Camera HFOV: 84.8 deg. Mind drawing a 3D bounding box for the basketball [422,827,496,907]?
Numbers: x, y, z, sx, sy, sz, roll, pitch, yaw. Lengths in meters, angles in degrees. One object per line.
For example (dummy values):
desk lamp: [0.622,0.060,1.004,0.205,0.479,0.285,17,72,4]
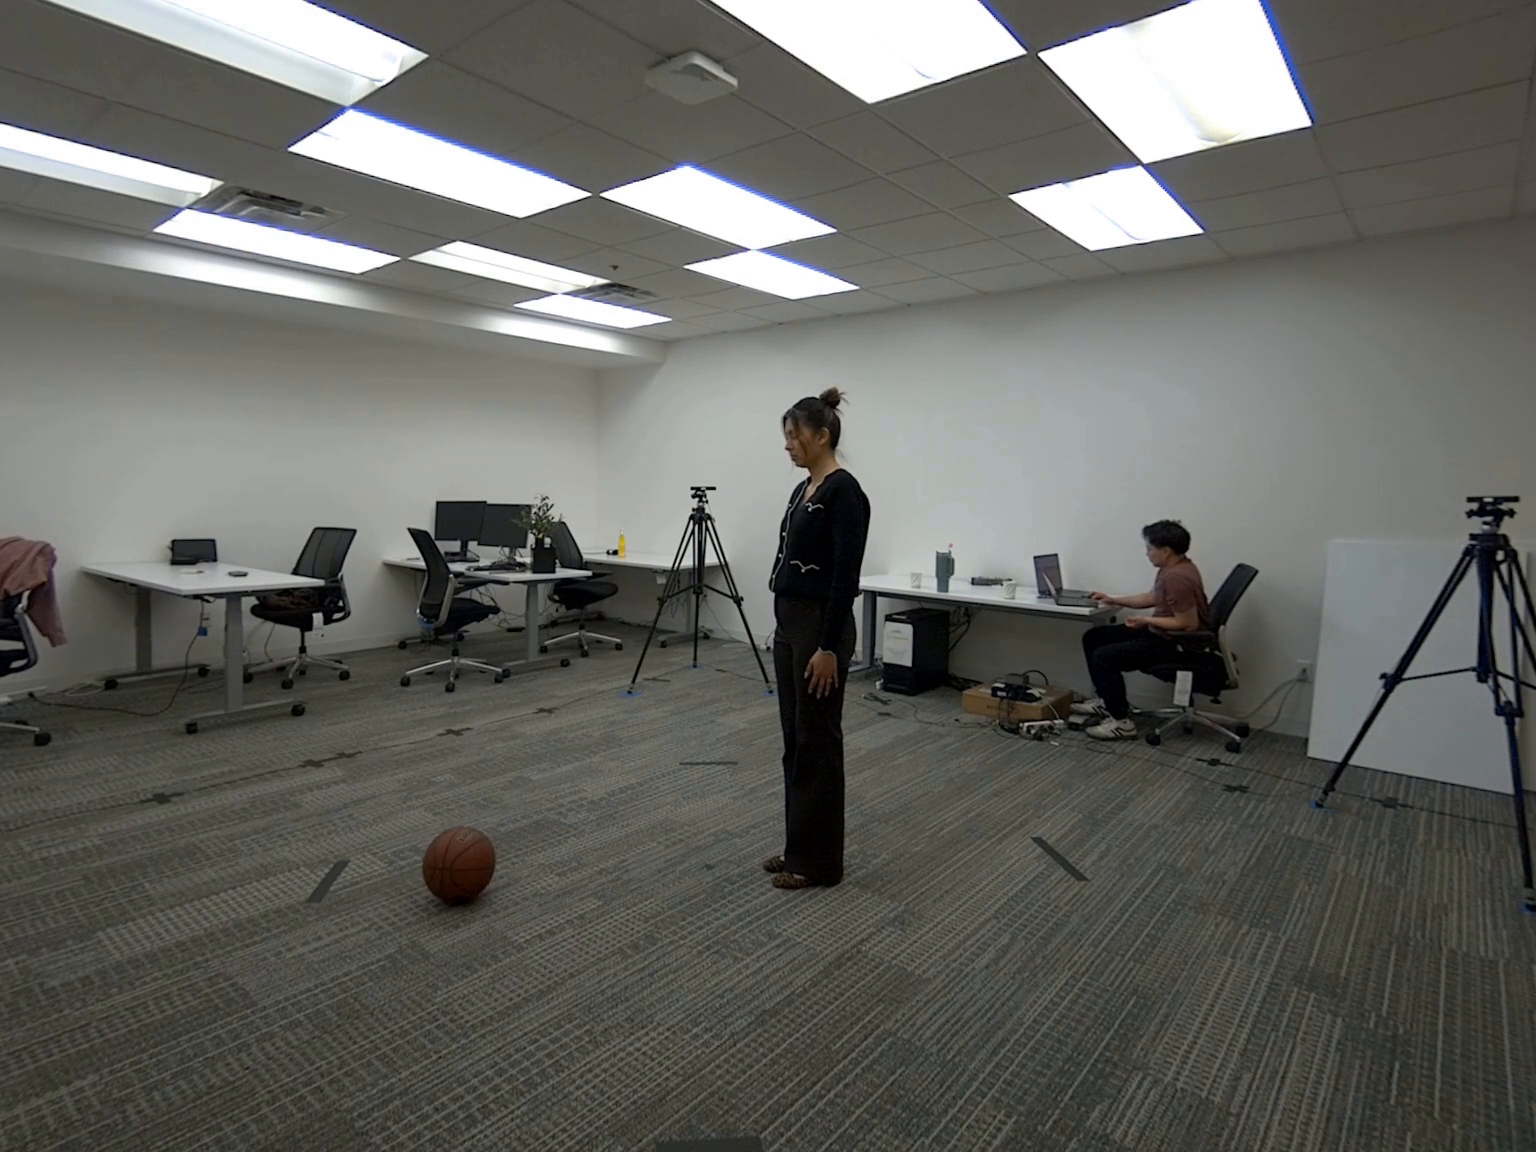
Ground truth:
basketball: [-1.045,0.963,2.852,0.235,0.235,0.237,1,4,-2]
